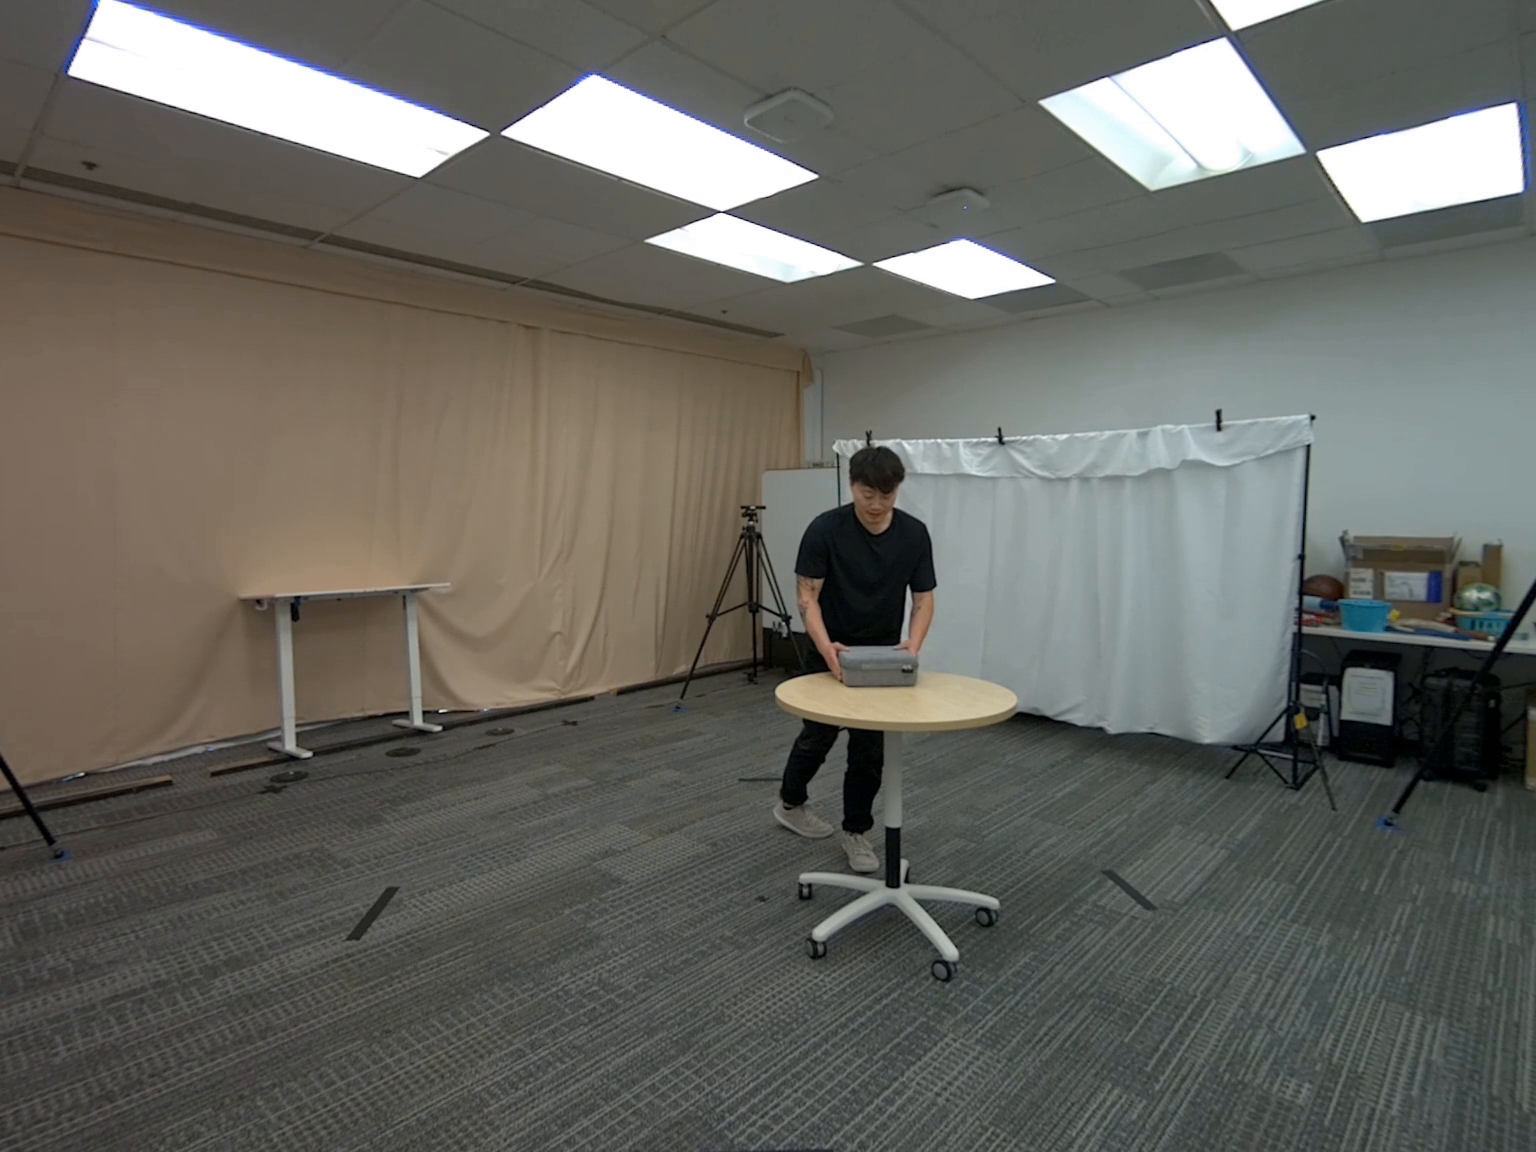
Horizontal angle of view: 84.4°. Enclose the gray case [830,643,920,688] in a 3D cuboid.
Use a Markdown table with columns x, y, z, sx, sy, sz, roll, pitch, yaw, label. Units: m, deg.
| x | y | z | sx | sy | sz | roll | pitch | yaw | label |
| --- | --- | --- | --- | --- | --- | --- | --- | --- | --- |
| 0.359 | 0.303 | 2.925 | 0.257 | 0.104 | 0.261 | -2 | 4 | -2 | gray case |
